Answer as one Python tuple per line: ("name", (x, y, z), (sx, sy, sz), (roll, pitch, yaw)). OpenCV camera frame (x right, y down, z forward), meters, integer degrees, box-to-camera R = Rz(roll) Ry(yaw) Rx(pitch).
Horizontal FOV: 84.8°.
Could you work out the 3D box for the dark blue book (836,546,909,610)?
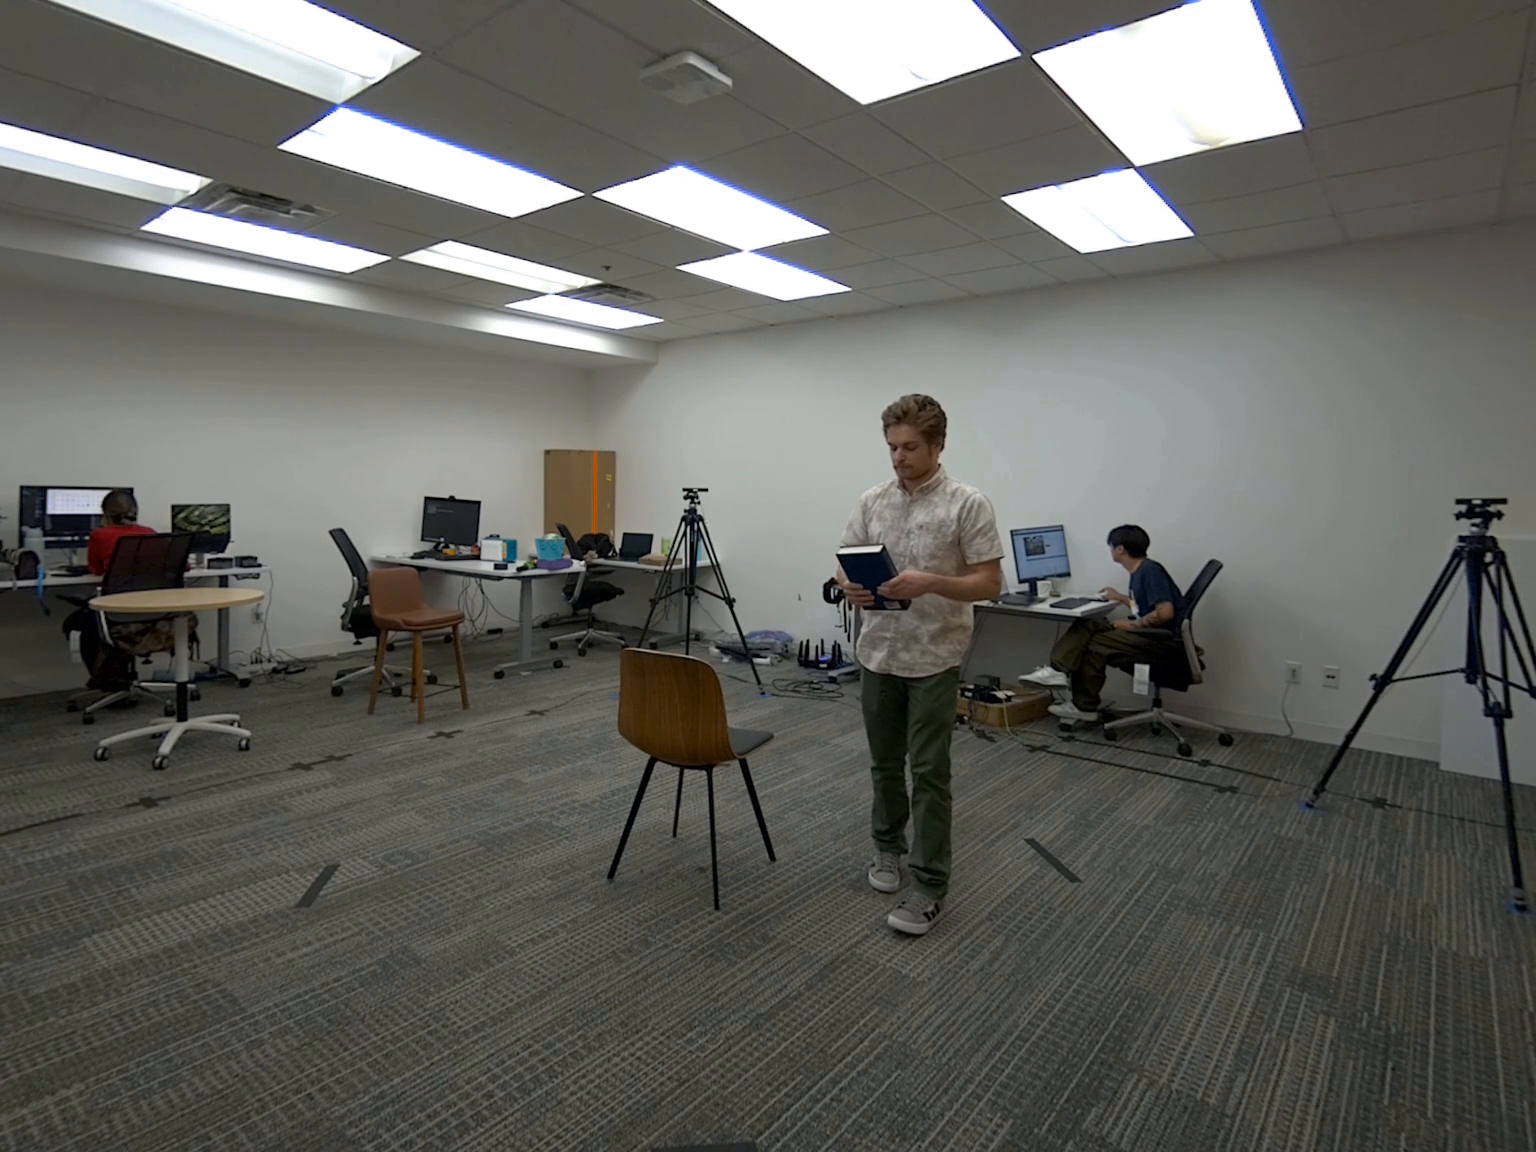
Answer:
("dark blue book", (0.331, 0.001, 2.718), (0.168, 0.237, 0.045), (-3, 39, 38))
